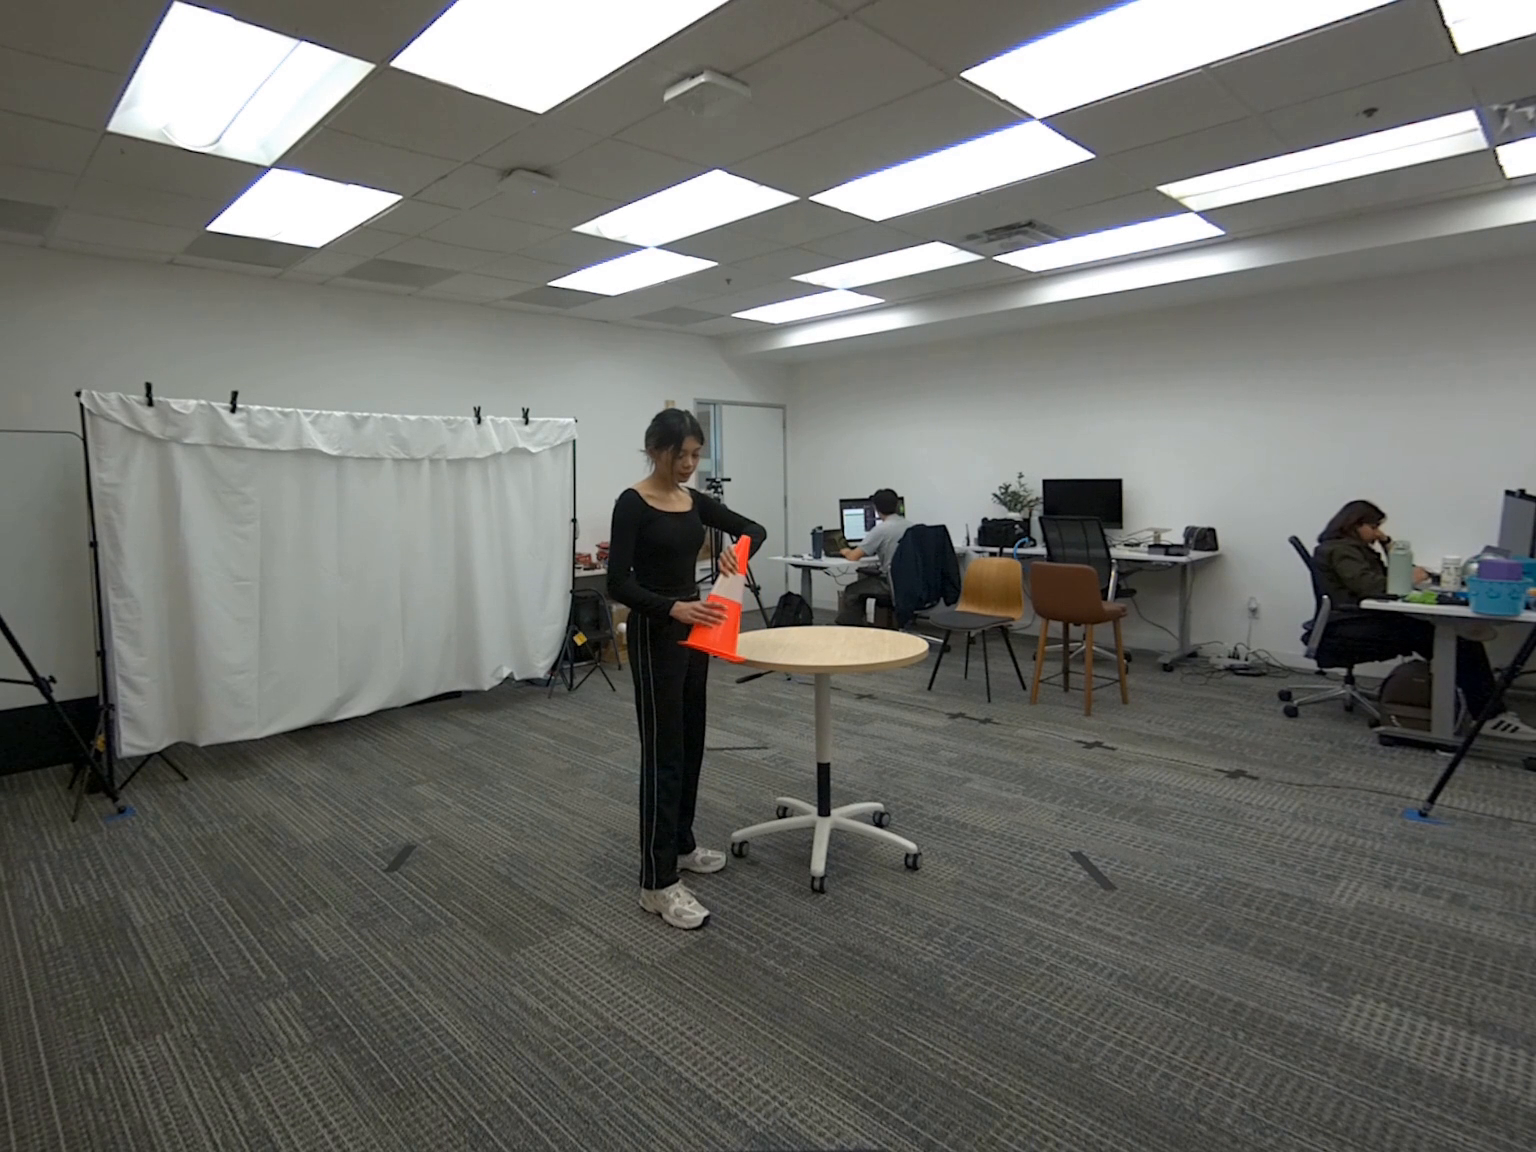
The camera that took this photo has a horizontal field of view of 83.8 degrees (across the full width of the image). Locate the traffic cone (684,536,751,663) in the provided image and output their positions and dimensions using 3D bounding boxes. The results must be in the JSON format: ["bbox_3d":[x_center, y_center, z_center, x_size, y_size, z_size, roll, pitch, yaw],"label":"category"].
[{"bbox_3d":[-0.116,0.057,2.683,0.203,0.387,0.203,14,-12,-1],"label":"traffic cone"}]
